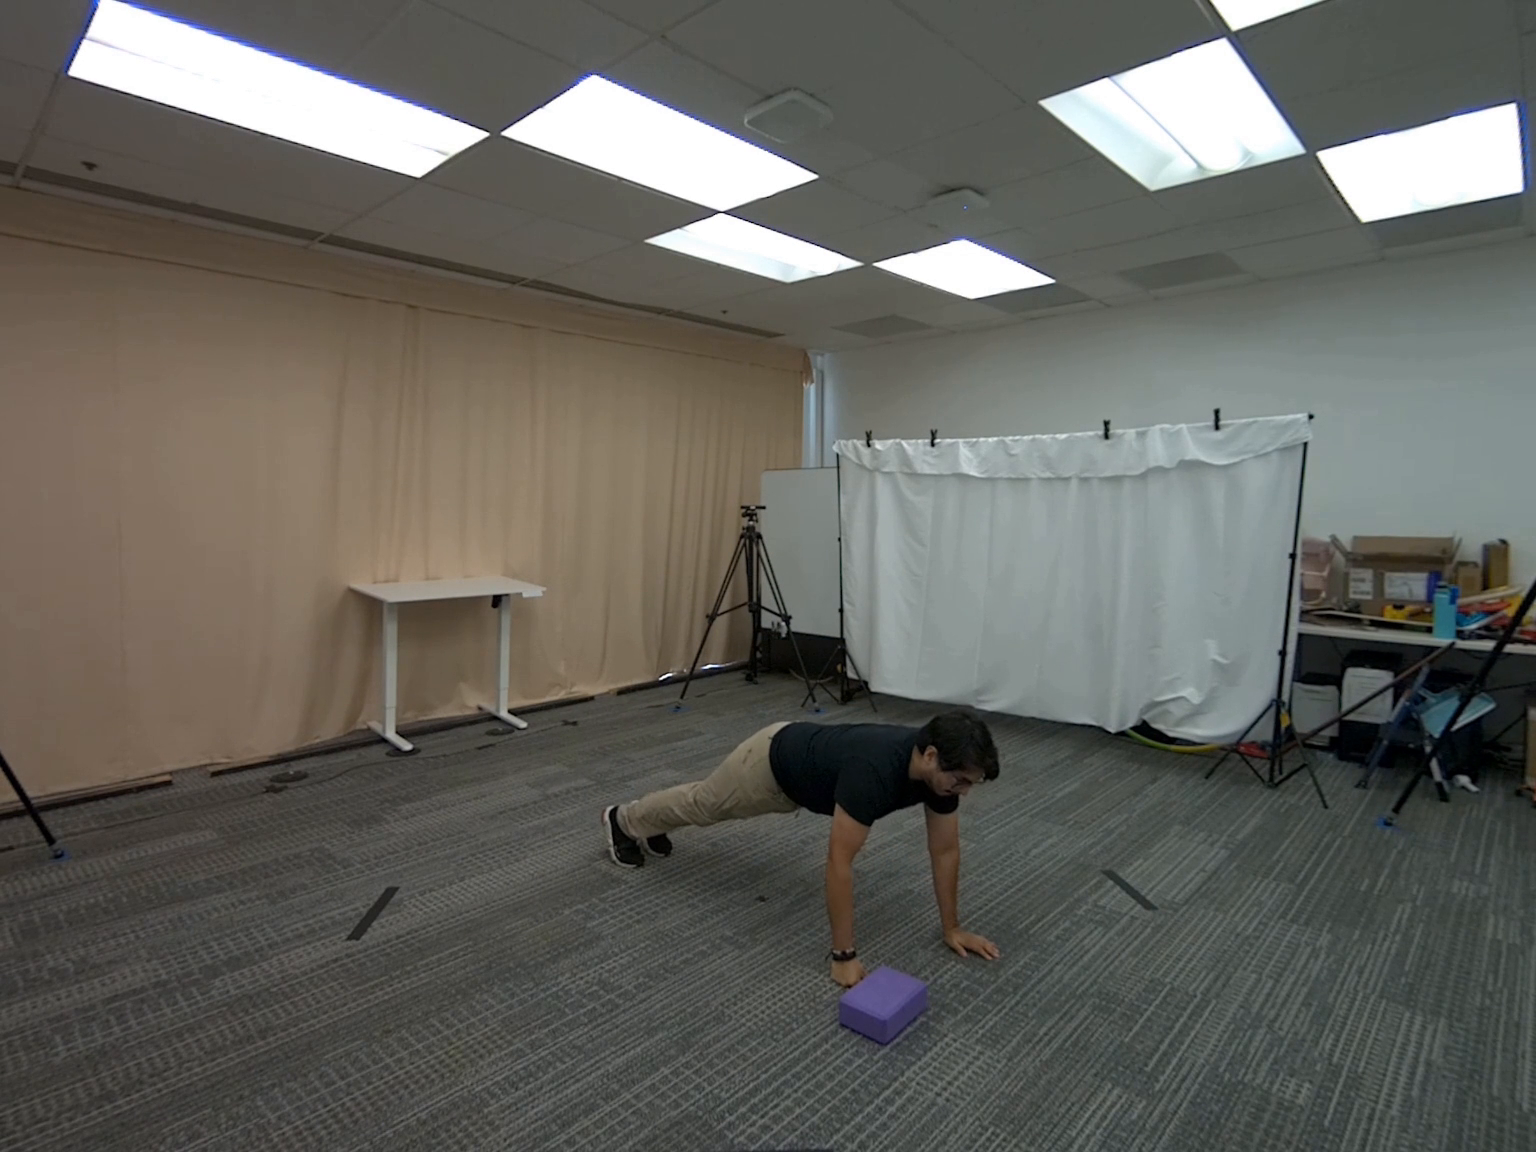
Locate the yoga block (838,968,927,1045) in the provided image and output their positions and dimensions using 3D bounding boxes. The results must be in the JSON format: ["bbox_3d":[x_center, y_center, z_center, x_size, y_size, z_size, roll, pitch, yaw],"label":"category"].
[{"bbox_3d":[0.320,1.157,2.293,0.154,0.076,0.222,4,5,39],"label":"yoga block"}]
